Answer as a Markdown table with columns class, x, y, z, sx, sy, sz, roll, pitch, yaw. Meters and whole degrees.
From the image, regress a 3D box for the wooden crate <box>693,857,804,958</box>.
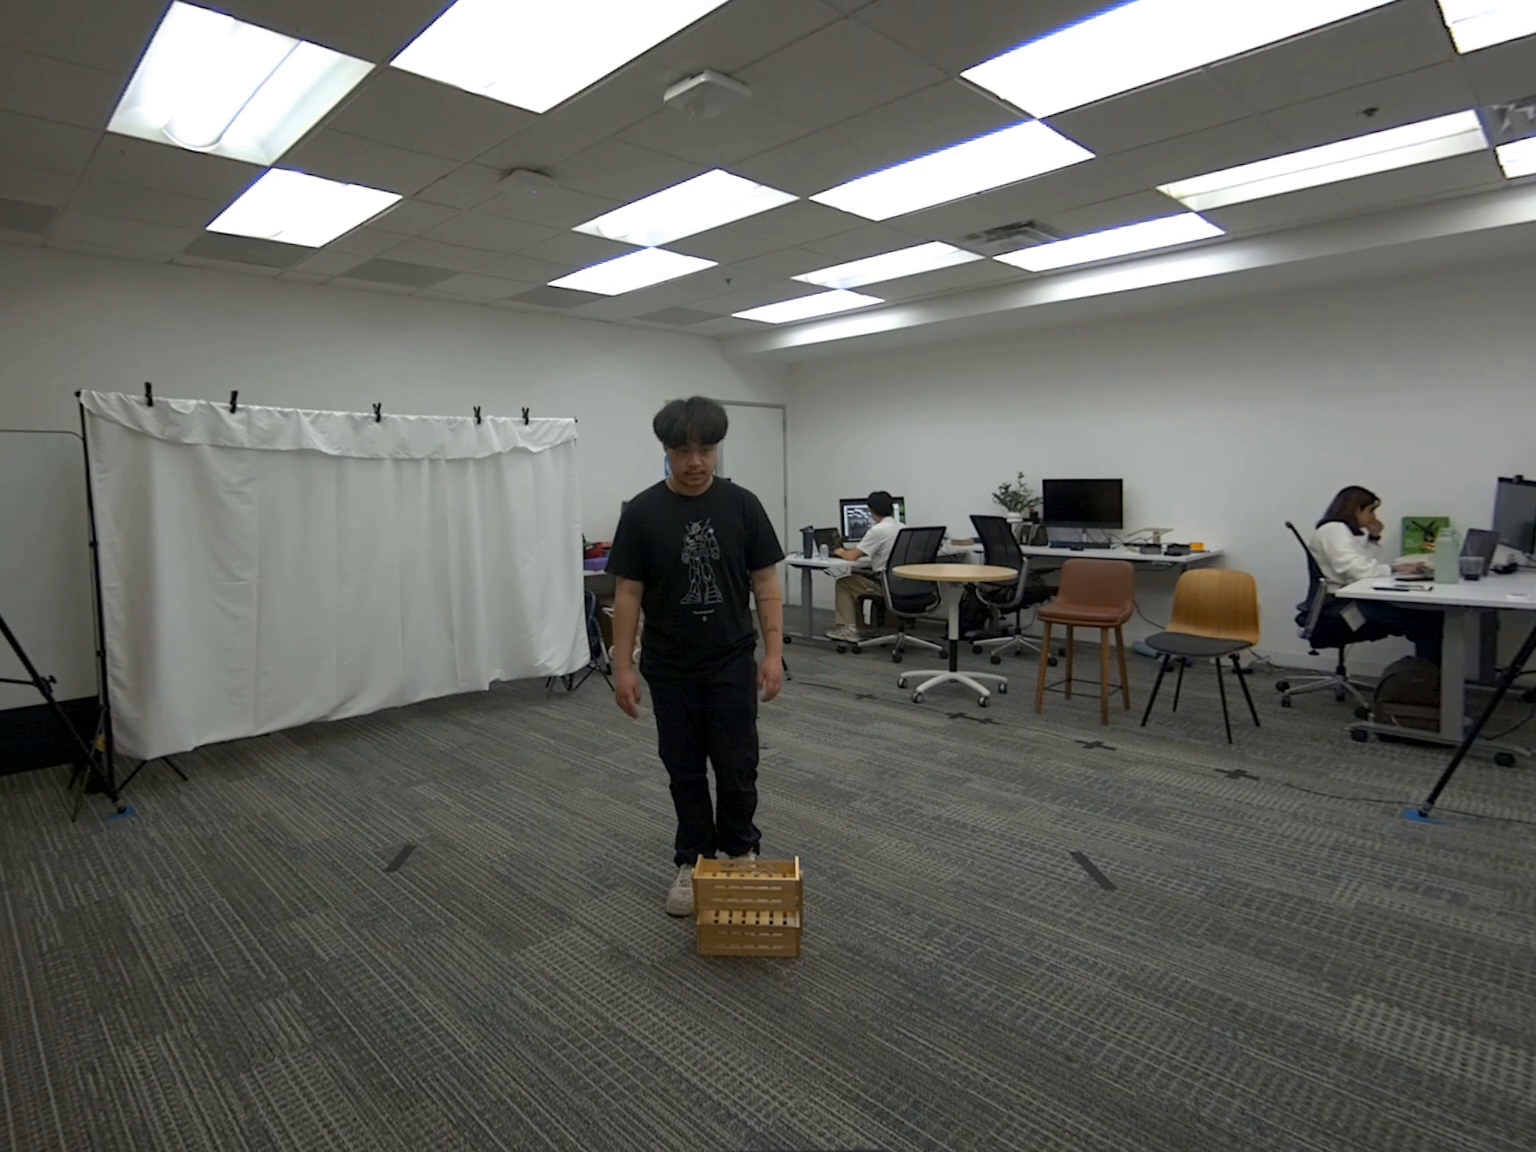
| class | x | y | z | sx | sy | sz | roll | pitch | yaw |
| --- | --- | --- | --- | --- | --- | --- | --- | --- | --- |
| wooden crate | -0.057 | 0.969 | 2.599 | 0.326 | 0.272 | 0.302 | -1 | 5 | 3 |
